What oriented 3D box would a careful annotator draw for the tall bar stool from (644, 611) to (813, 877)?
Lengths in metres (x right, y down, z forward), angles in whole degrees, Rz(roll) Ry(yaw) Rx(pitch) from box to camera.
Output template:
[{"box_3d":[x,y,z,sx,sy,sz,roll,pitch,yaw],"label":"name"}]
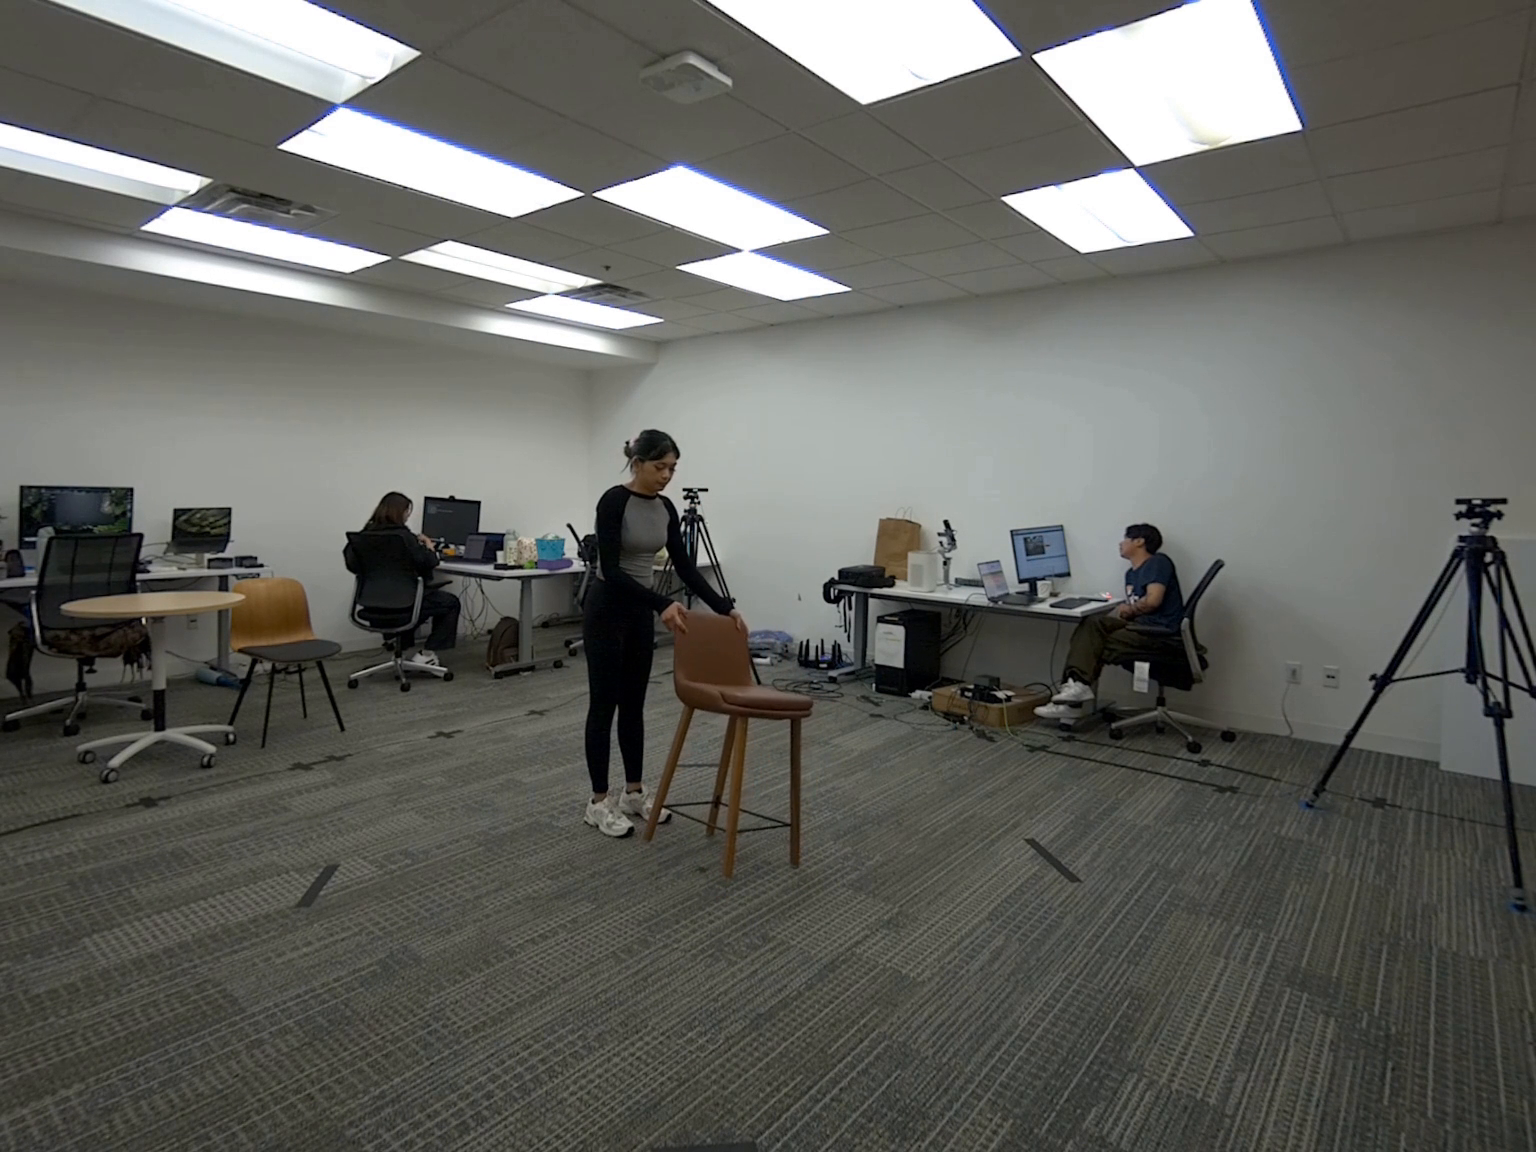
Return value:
[{"box_3d":[-0.134,0.598,3.205,0.482,0.895,0.440,0,-9,42],"label":"tall bar stool"}]
